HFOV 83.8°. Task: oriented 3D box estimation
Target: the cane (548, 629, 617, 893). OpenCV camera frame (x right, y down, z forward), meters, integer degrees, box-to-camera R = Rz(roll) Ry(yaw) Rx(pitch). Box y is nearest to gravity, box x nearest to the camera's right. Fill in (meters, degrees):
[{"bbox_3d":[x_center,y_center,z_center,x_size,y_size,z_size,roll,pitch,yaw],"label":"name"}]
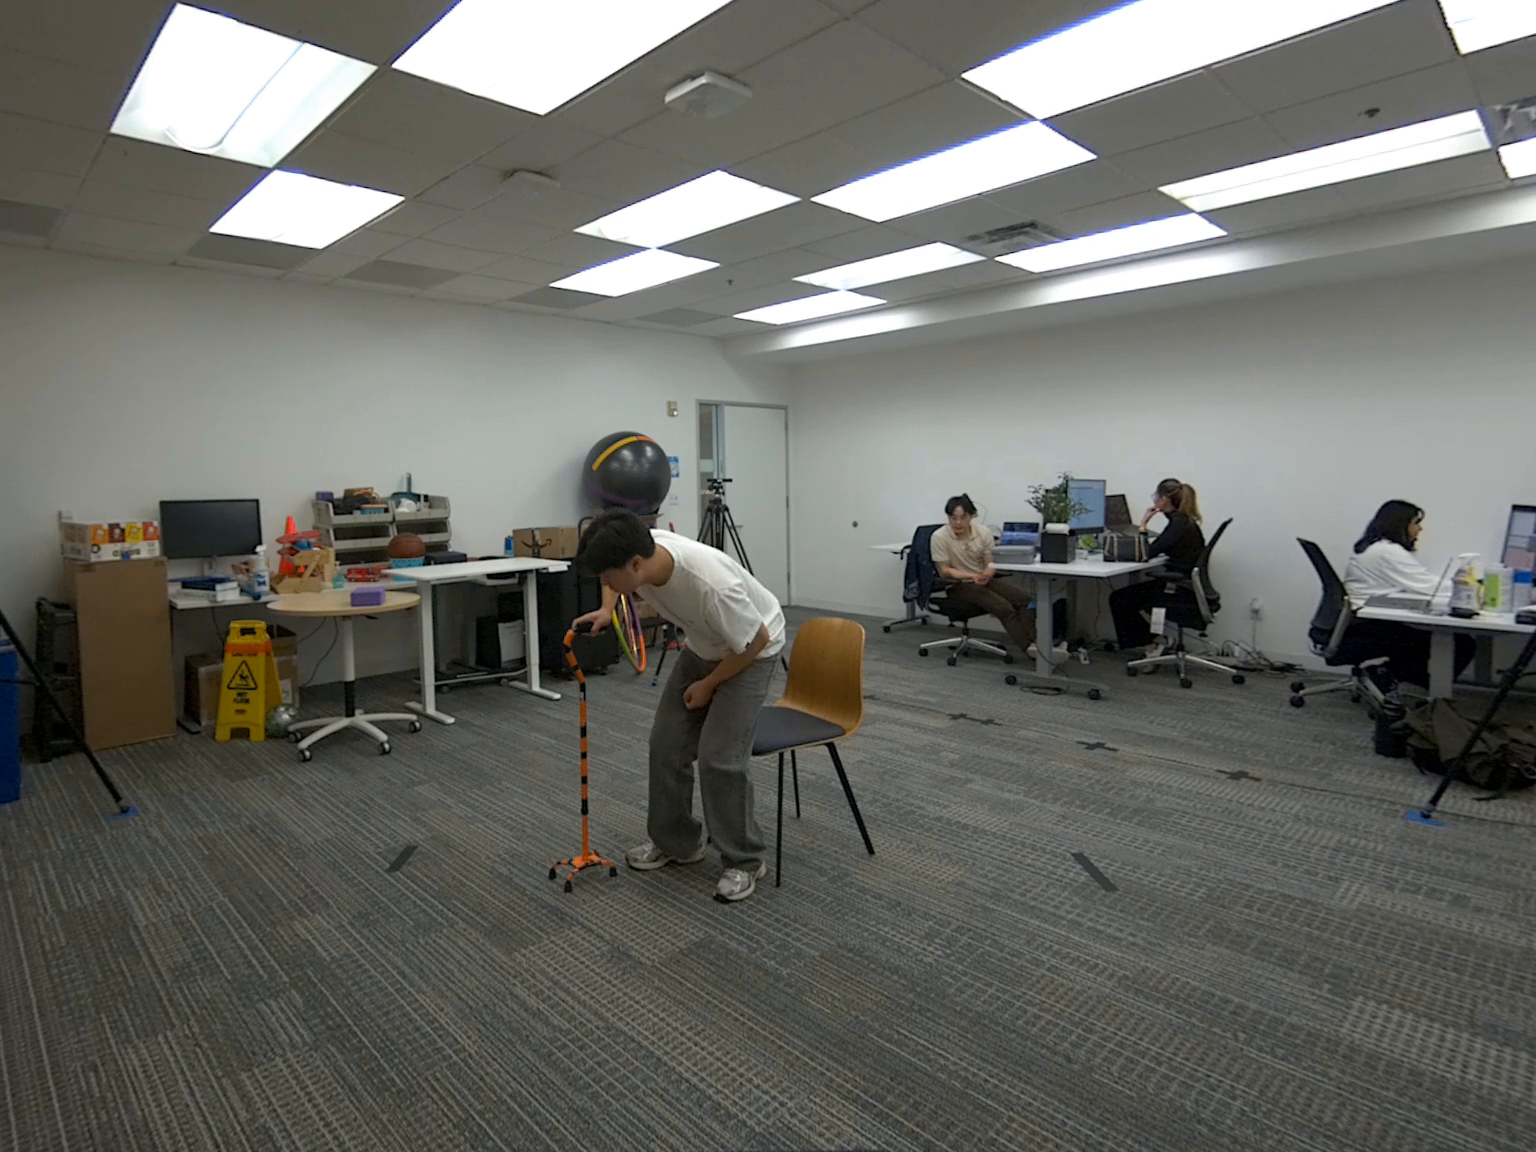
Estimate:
[{"bbox_3d":[-0.655,0.609,2.995,0.201,0.904,0.156,-5,6,-41],"label":"cane"}]
